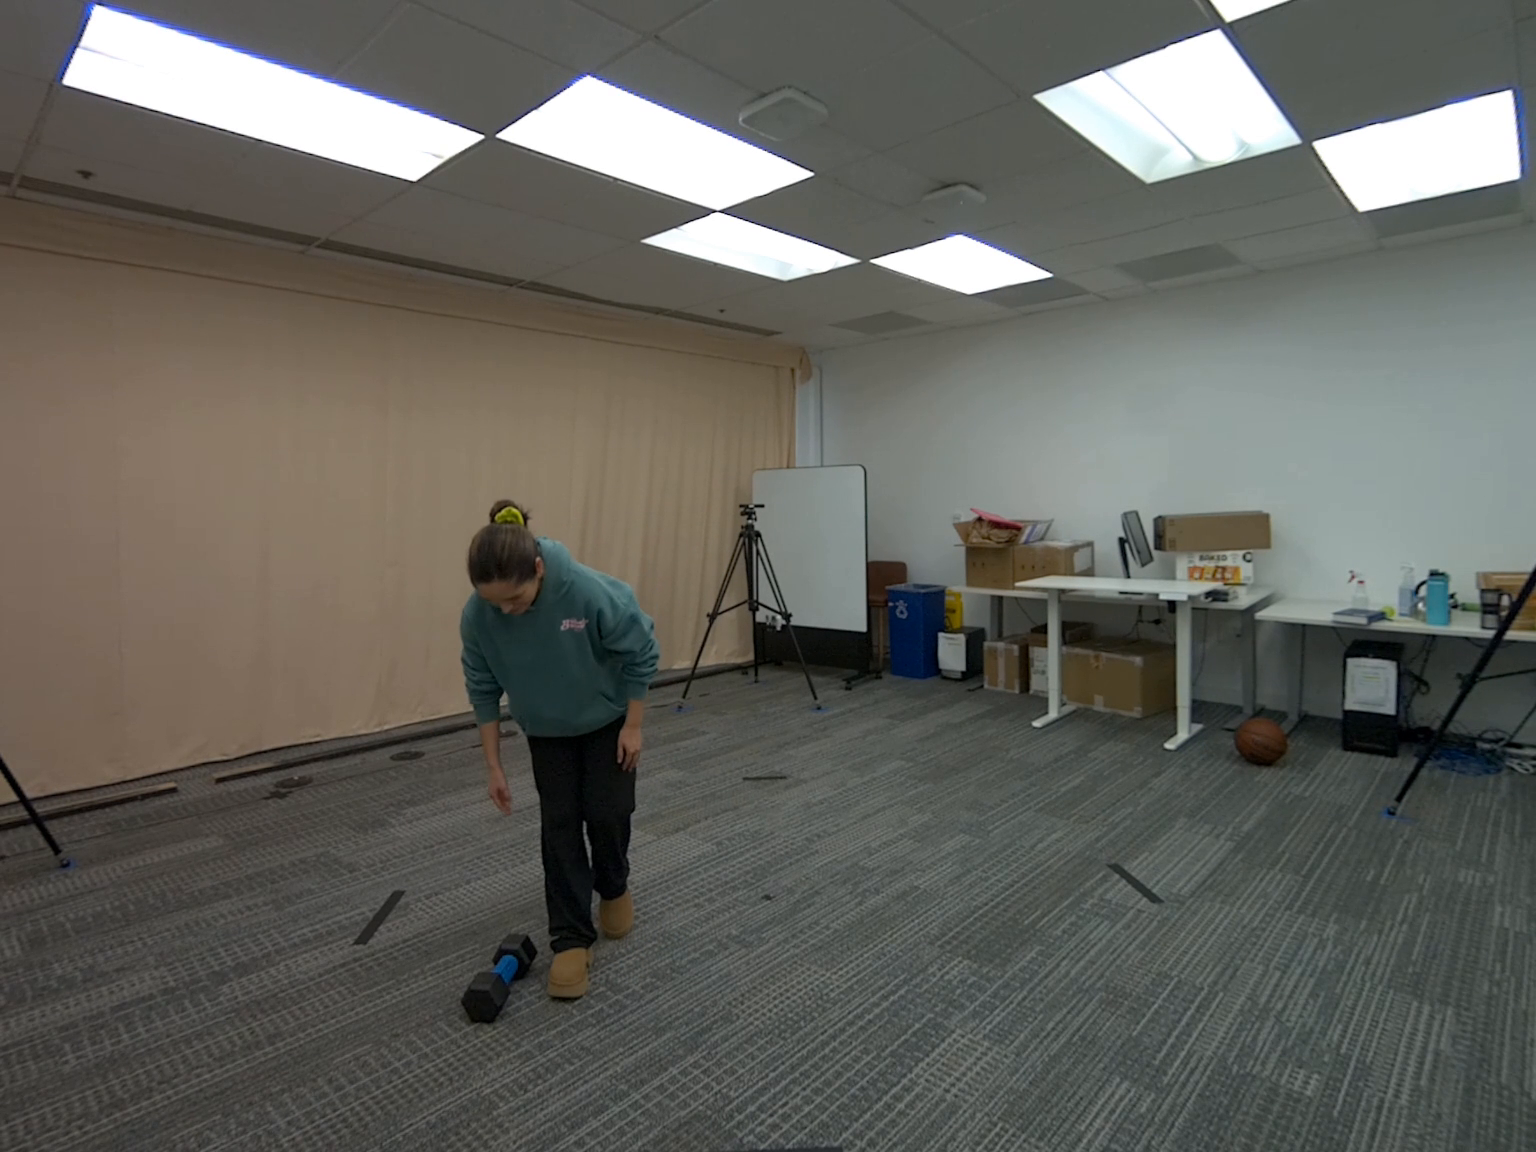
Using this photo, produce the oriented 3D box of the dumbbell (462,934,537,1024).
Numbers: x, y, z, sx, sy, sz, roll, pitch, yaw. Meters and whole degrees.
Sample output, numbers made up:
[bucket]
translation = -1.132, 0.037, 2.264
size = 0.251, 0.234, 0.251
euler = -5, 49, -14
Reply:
[dumbbell]
translation = -0.772, 1.156, 2.413
size = 0.109, 0.123, 0.292
euler = -29, 1, 5
